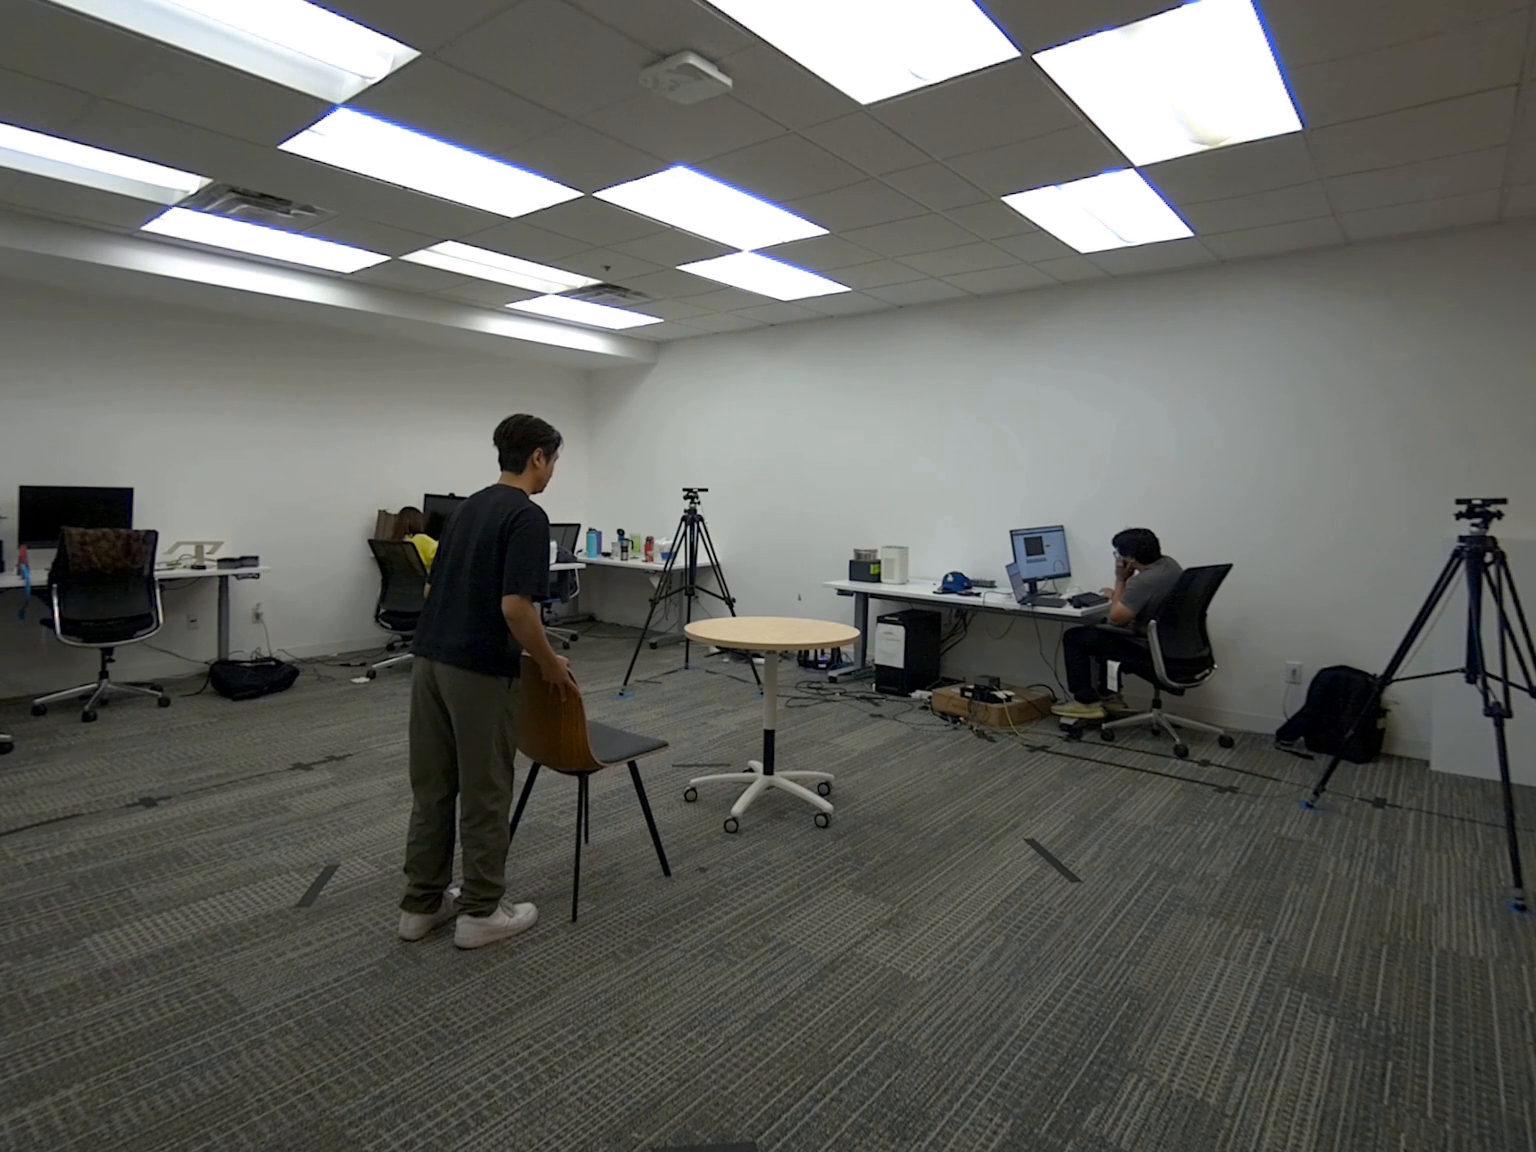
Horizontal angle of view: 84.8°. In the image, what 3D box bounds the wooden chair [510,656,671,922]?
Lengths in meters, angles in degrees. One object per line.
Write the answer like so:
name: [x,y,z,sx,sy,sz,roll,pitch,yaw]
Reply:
wooden chair: [-0.656,0.641,3.001,0.494,0.872,0.510,3,8,38]
